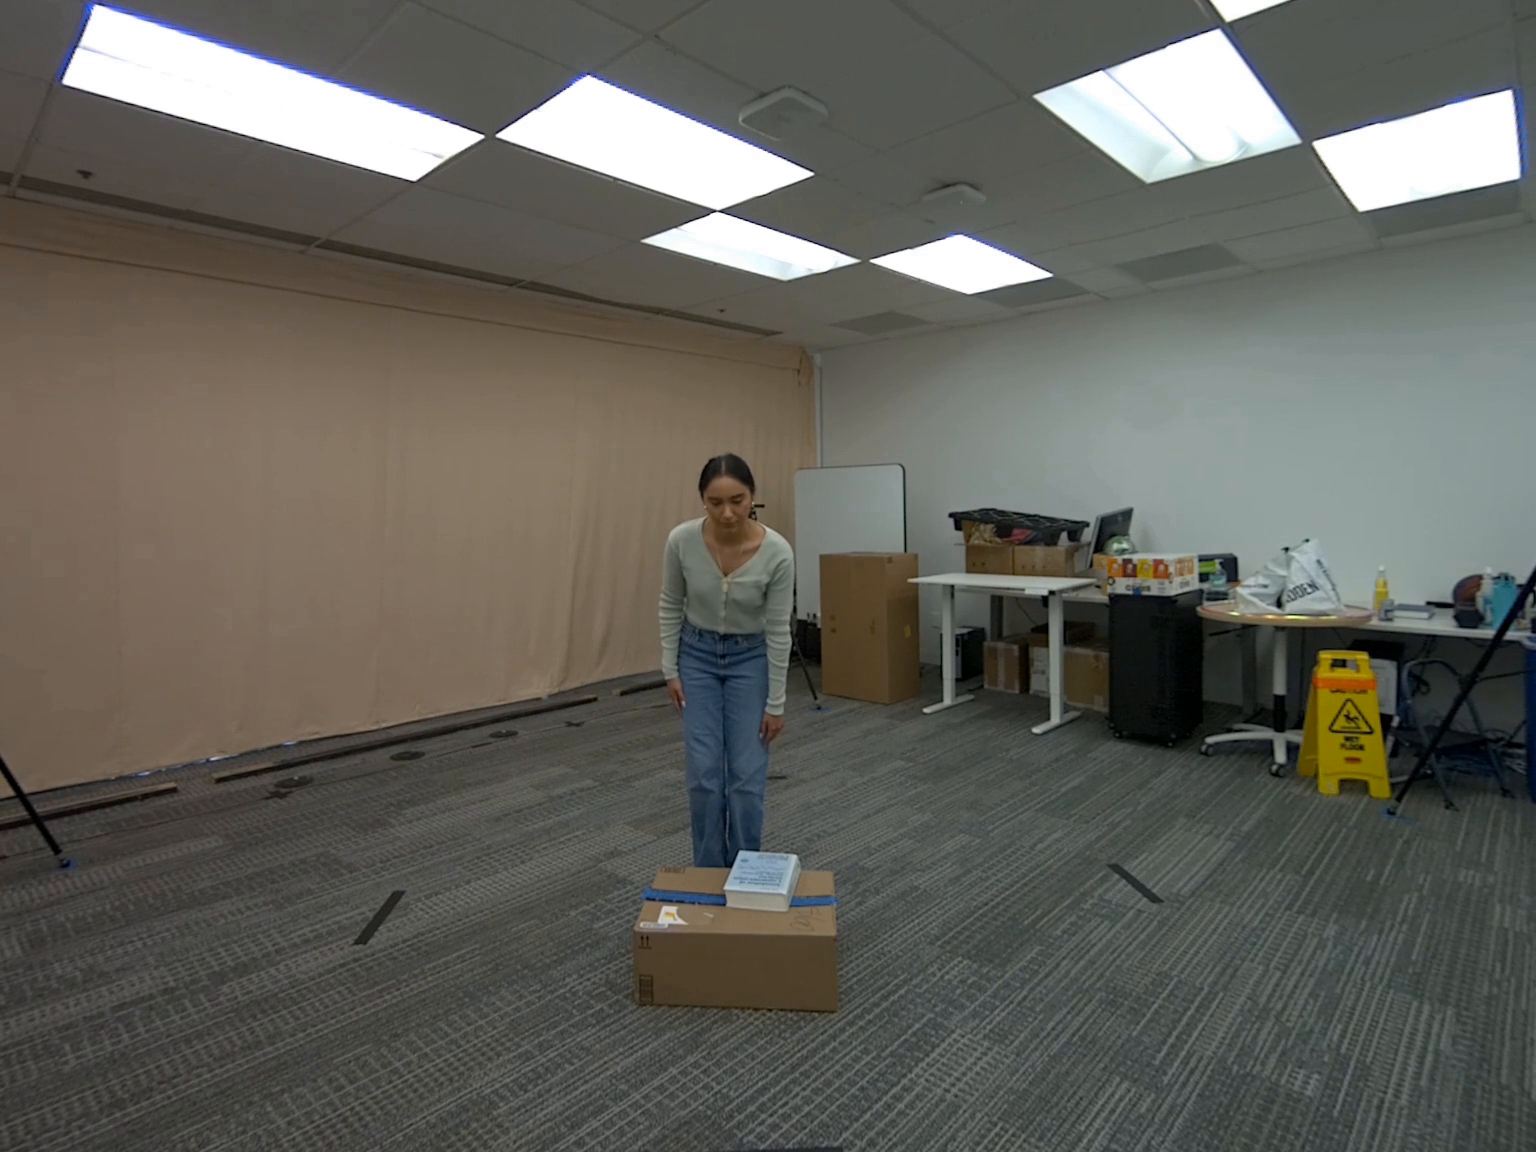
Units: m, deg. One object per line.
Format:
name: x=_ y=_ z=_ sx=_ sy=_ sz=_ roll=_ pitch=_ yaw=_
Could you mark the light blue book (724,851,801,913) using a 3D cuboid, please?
light blue book: x=-0.012 y=0.930 z=2.588 sx=0.194 sy=0.059 sz=0.258 roll=-1 pitch=6 yaw=11
